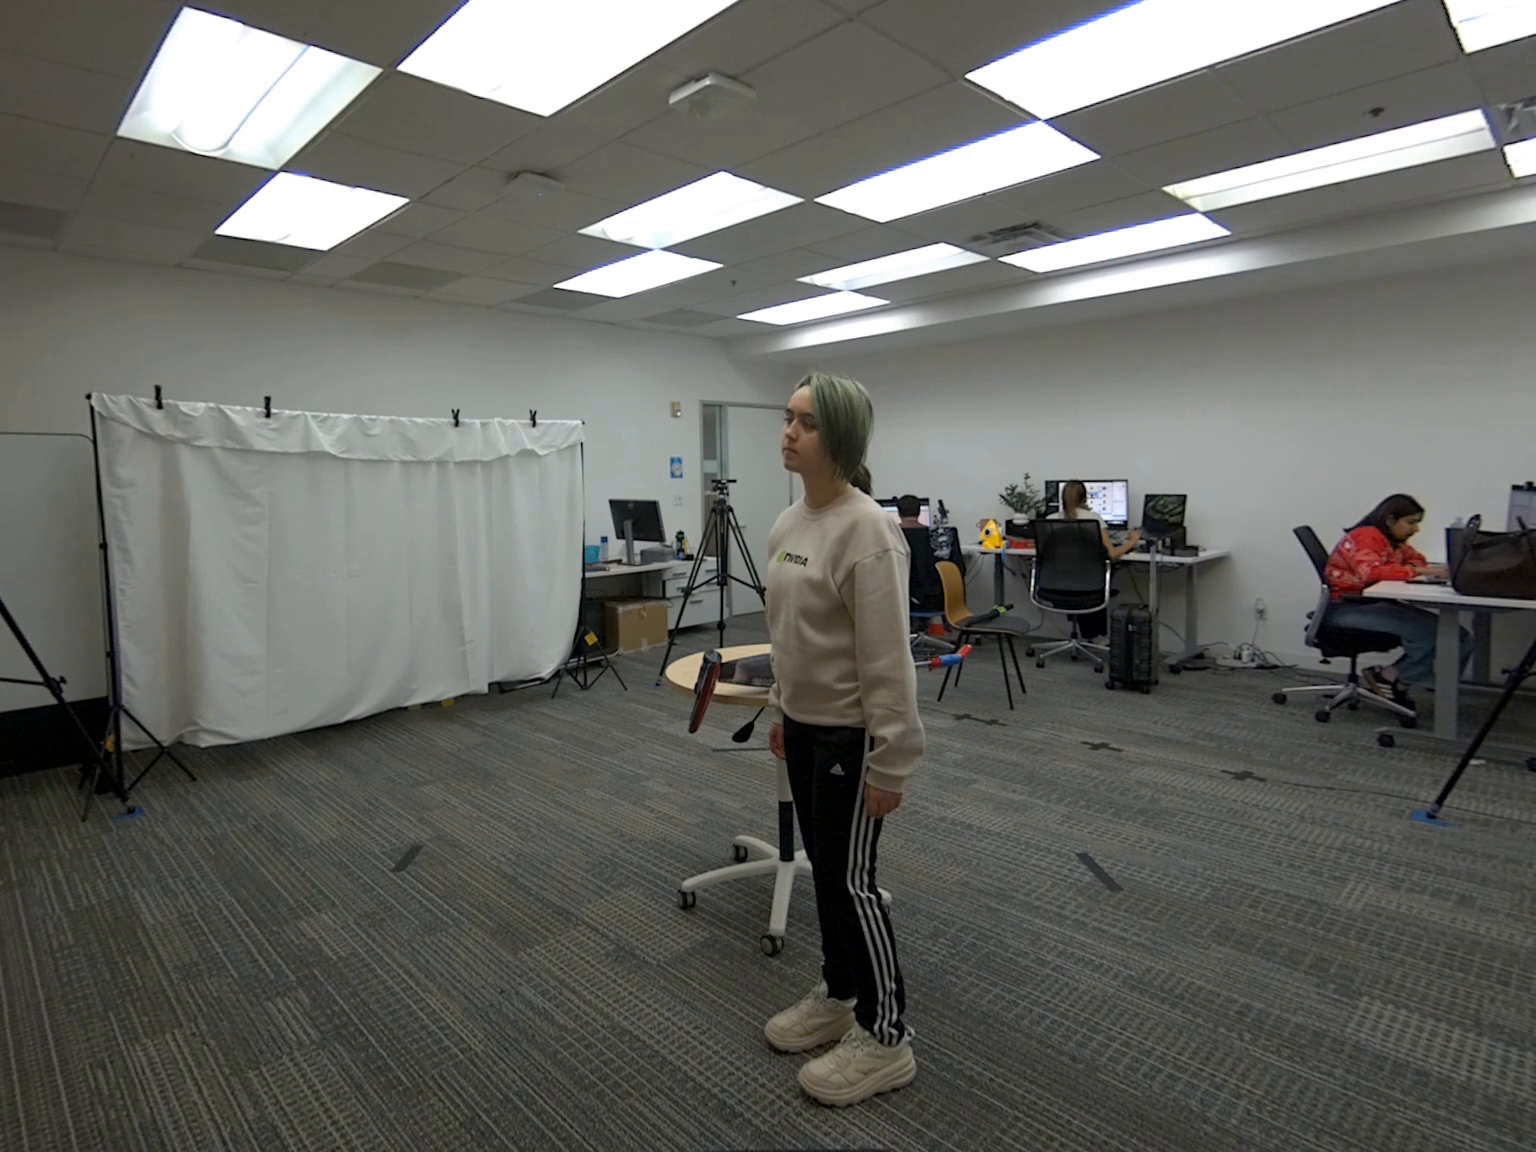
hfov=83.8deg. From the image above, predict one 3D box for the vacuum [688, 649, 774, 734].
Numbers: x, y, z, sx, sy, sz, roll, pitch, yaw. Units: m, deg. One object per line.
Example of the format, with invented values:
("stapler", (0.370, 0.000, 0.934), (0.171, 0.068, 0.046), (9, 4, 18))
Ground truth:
("vacuum", (0.252, 0.274, 2.625), (1.024, 0.249, 0.150), (-4, 37, -31))
